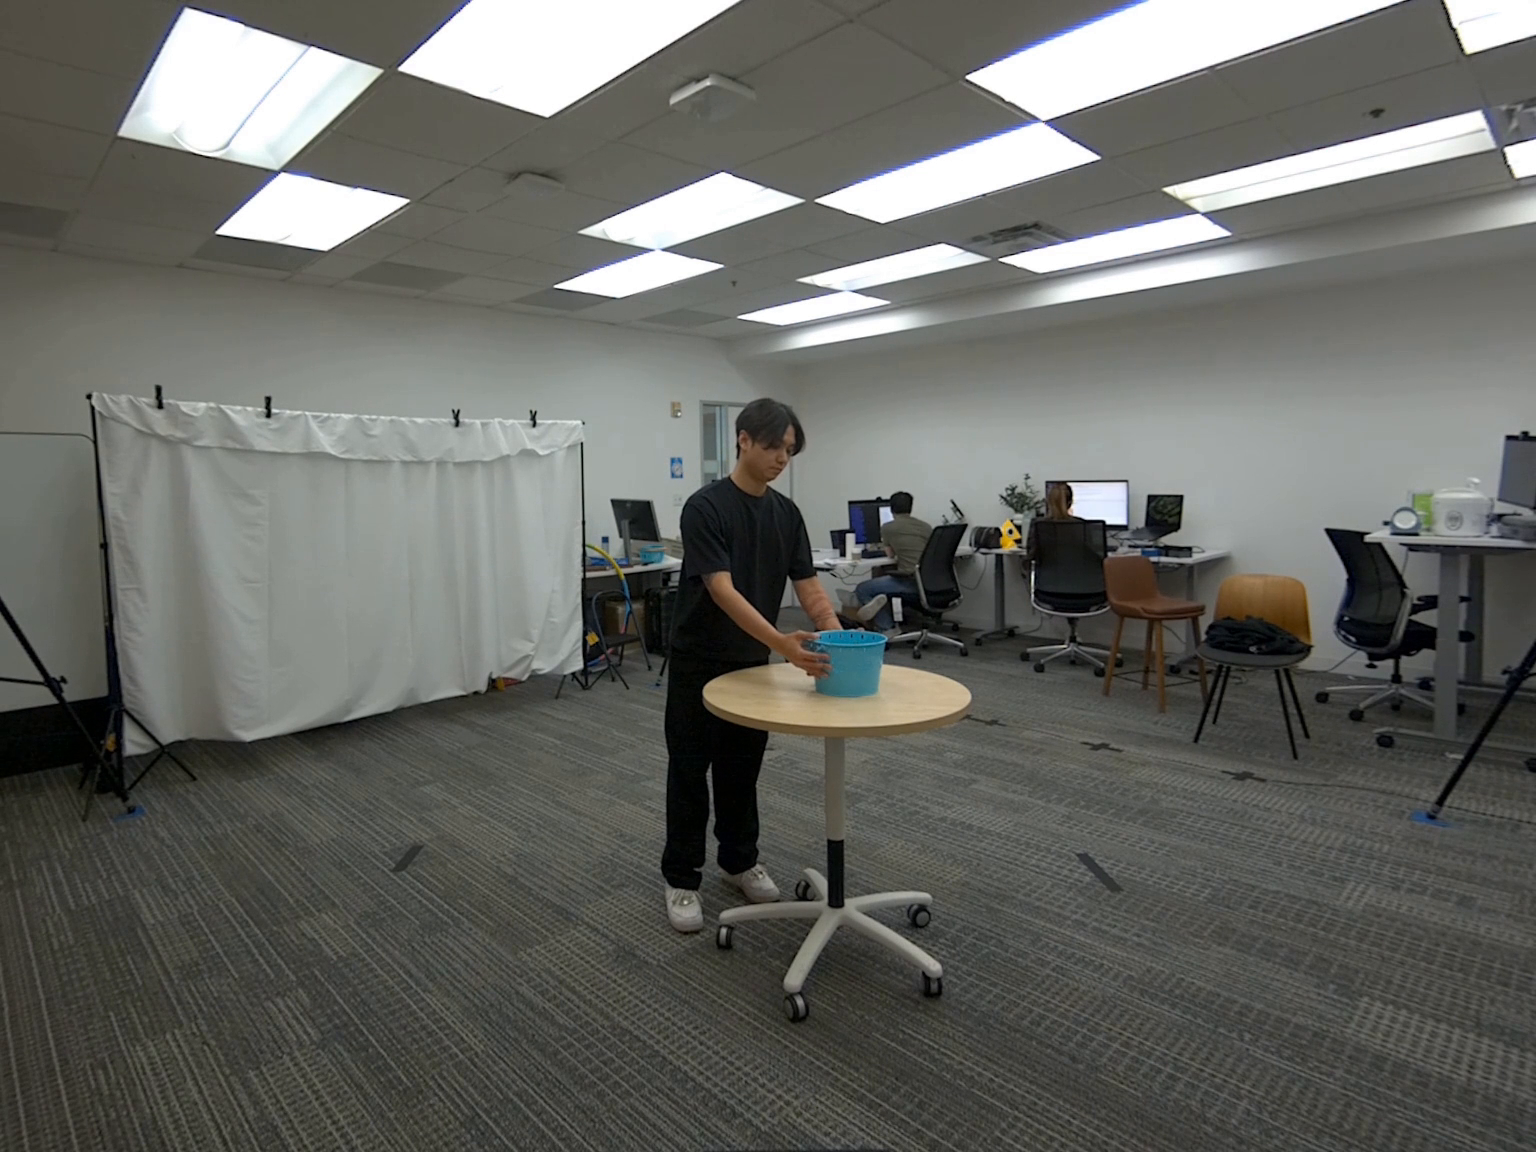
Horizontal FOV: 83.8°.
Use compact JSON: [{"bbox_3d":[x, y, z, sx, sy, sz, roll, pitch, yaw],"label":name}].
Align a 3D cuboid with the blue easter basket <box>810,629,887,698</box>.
[{"bbox_3d":[0.237,0.255,2.469,0.243,0.155,0.245,-1,6,-2],"label":"blue easter basket"}]
